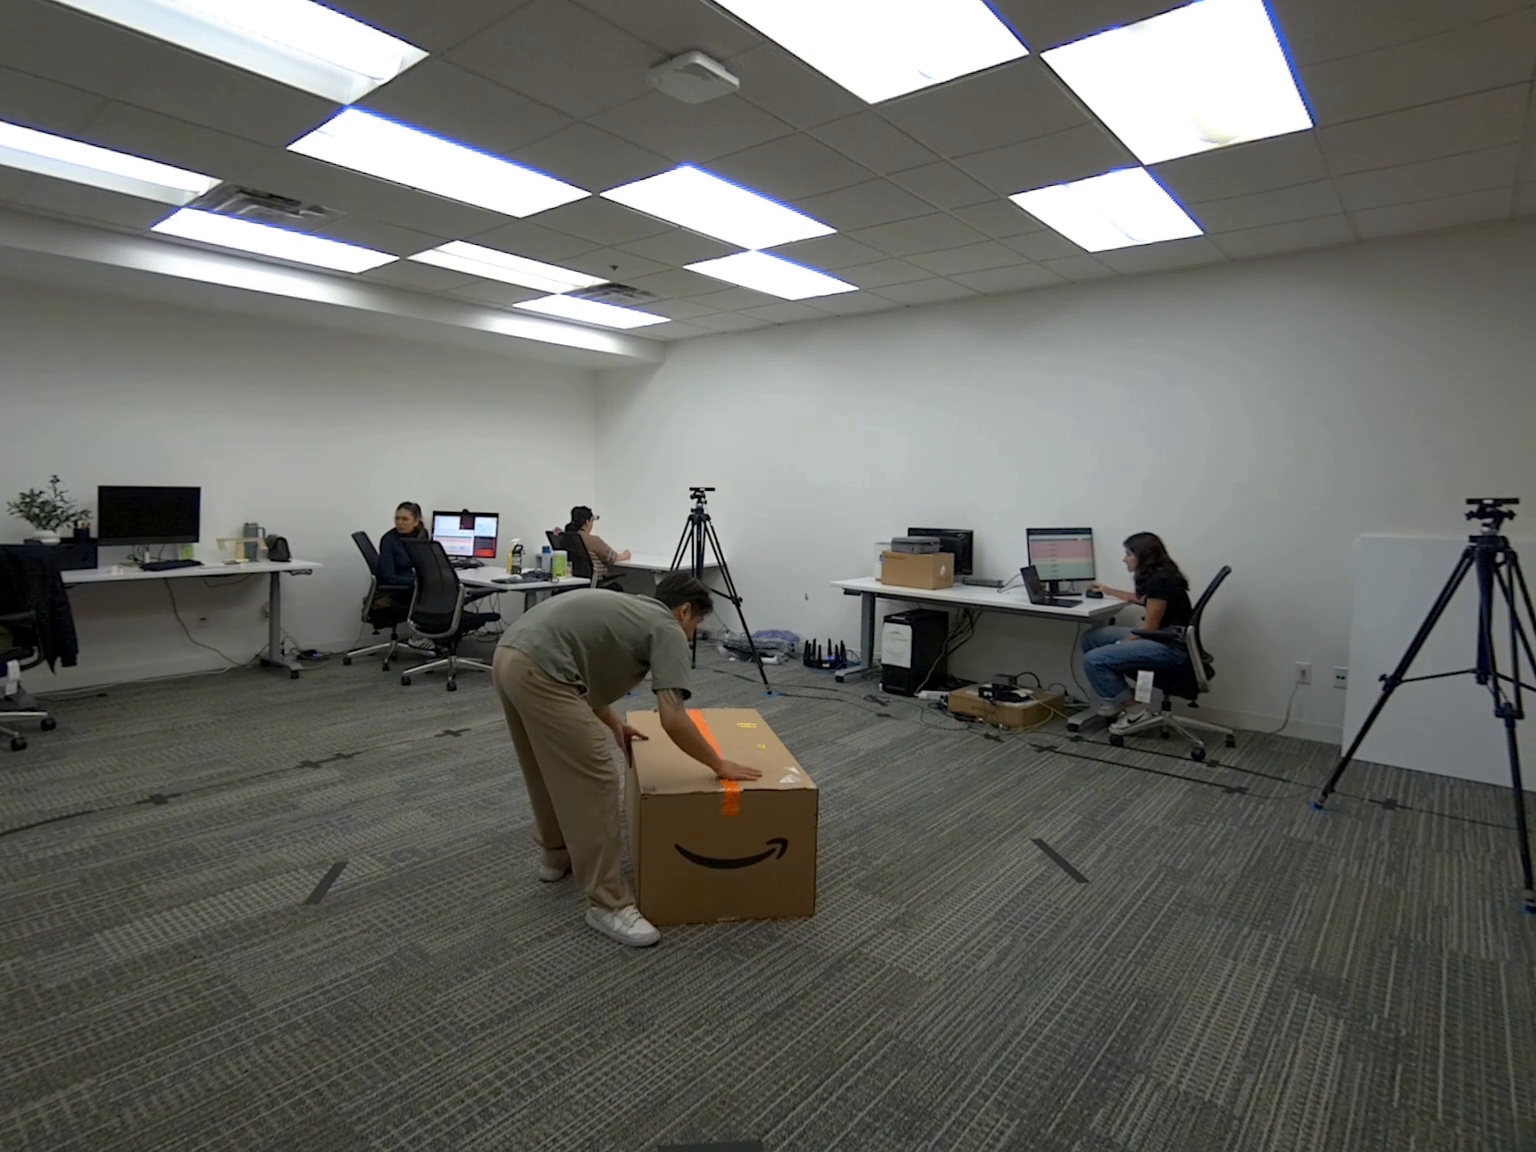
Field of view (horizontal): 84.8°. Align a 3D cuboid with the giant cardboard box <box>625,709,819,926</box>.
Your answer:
[{"bbox_3d":[-0.234,0.837,3.216,0.571,0.424,1.042,-1,6,-11],"label":"giant cardboard box"}]
